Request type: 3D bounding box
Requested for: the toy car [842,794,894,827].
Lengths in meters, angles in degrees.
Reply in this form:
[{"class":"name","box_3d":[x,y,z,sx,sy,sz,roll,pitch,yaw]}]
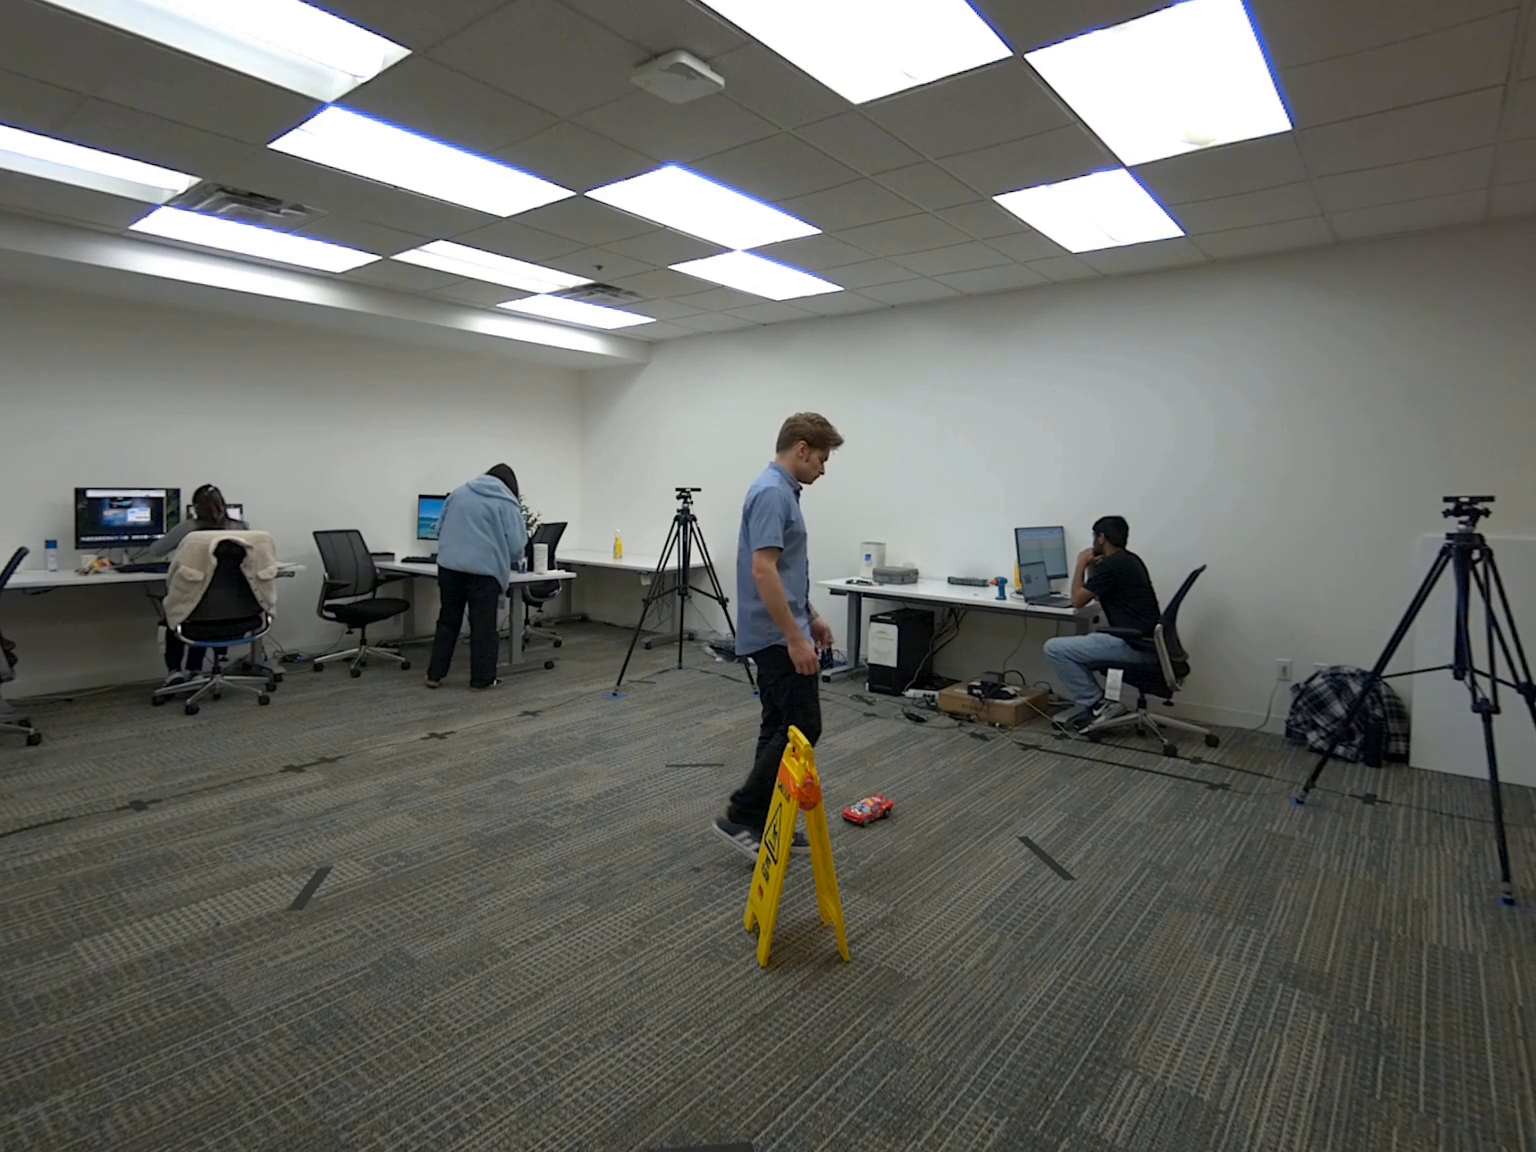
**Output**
[{"class":"toy car","box_3d":[0.431,0.999,3.637,0.249,0.082,0.135,-19,18,-41]}]
